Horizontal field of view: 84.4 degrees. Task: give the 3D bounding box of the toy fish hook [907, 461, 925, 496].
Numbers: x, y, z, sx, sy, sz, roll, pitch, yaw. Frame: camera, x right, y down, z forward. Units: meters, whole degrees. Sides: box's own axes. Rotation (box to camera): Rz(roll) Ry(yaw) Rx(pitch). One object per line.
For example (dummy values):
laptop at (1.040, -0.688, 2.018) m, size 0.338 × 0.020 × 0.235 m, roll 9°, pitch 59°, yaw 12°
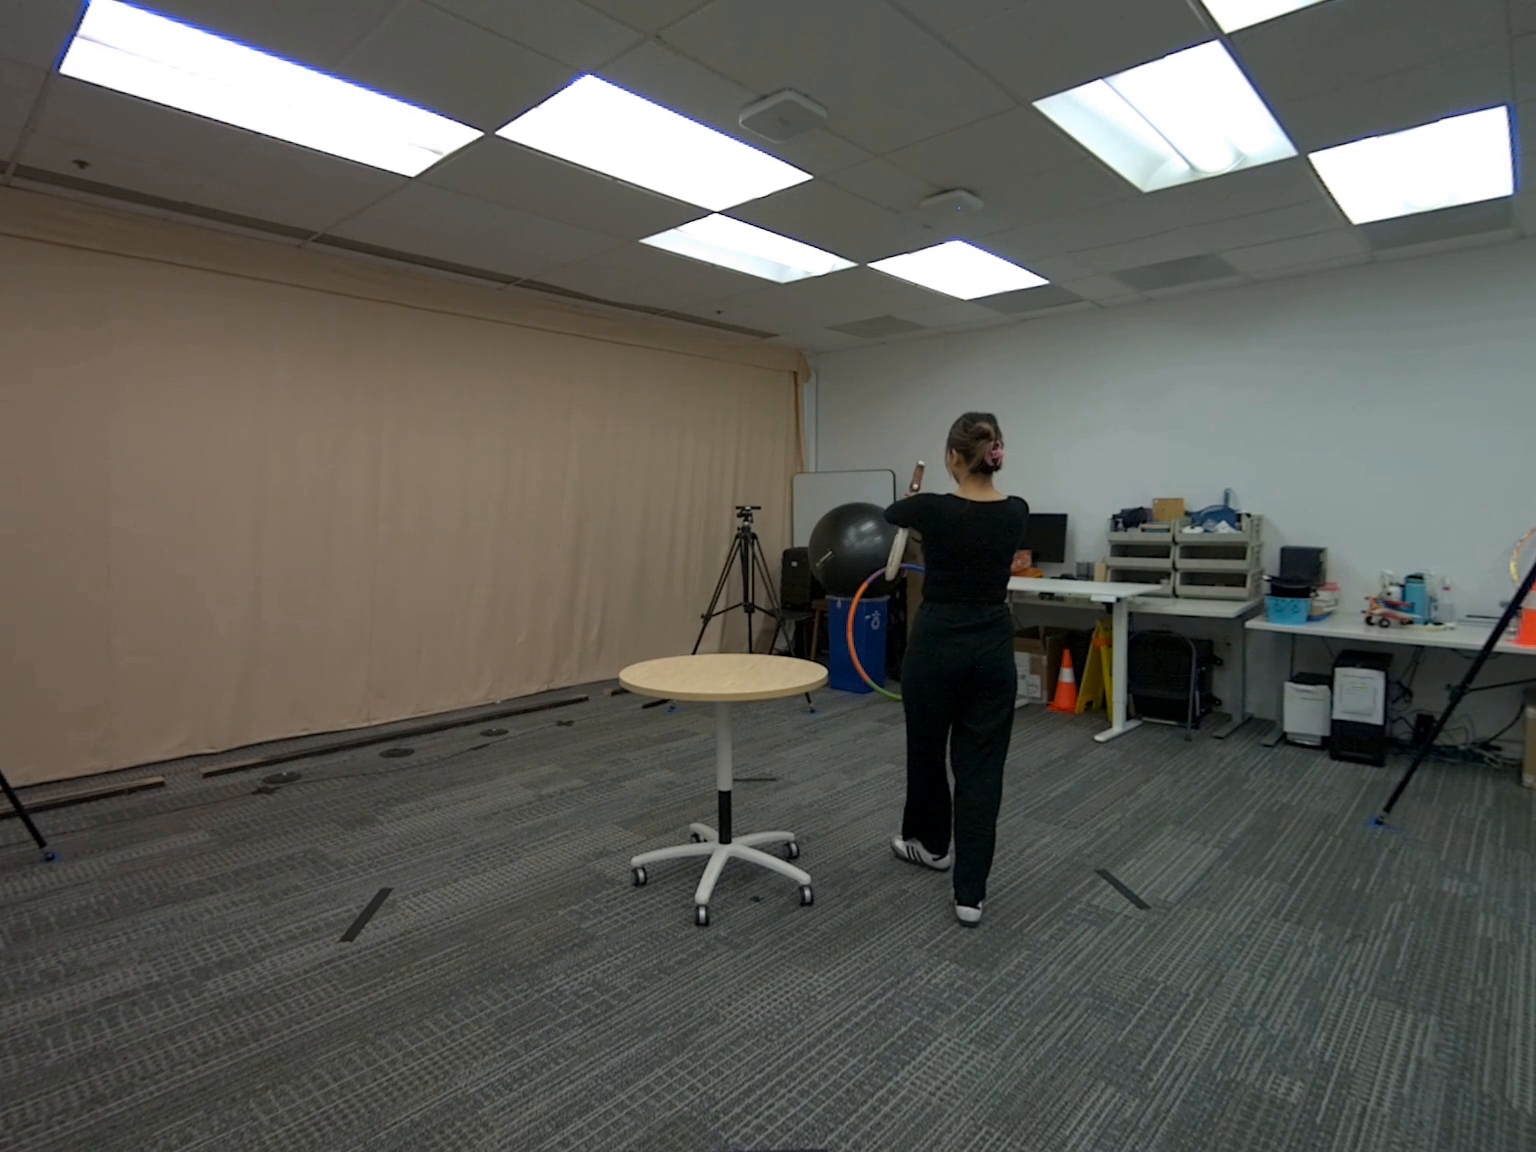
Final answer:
toy fish hook at (0.568, -0.234, 3.501) m, size 0.048 × 0.506 × 0.224 m, roll 16°, pitch 2°, yaw -1°
